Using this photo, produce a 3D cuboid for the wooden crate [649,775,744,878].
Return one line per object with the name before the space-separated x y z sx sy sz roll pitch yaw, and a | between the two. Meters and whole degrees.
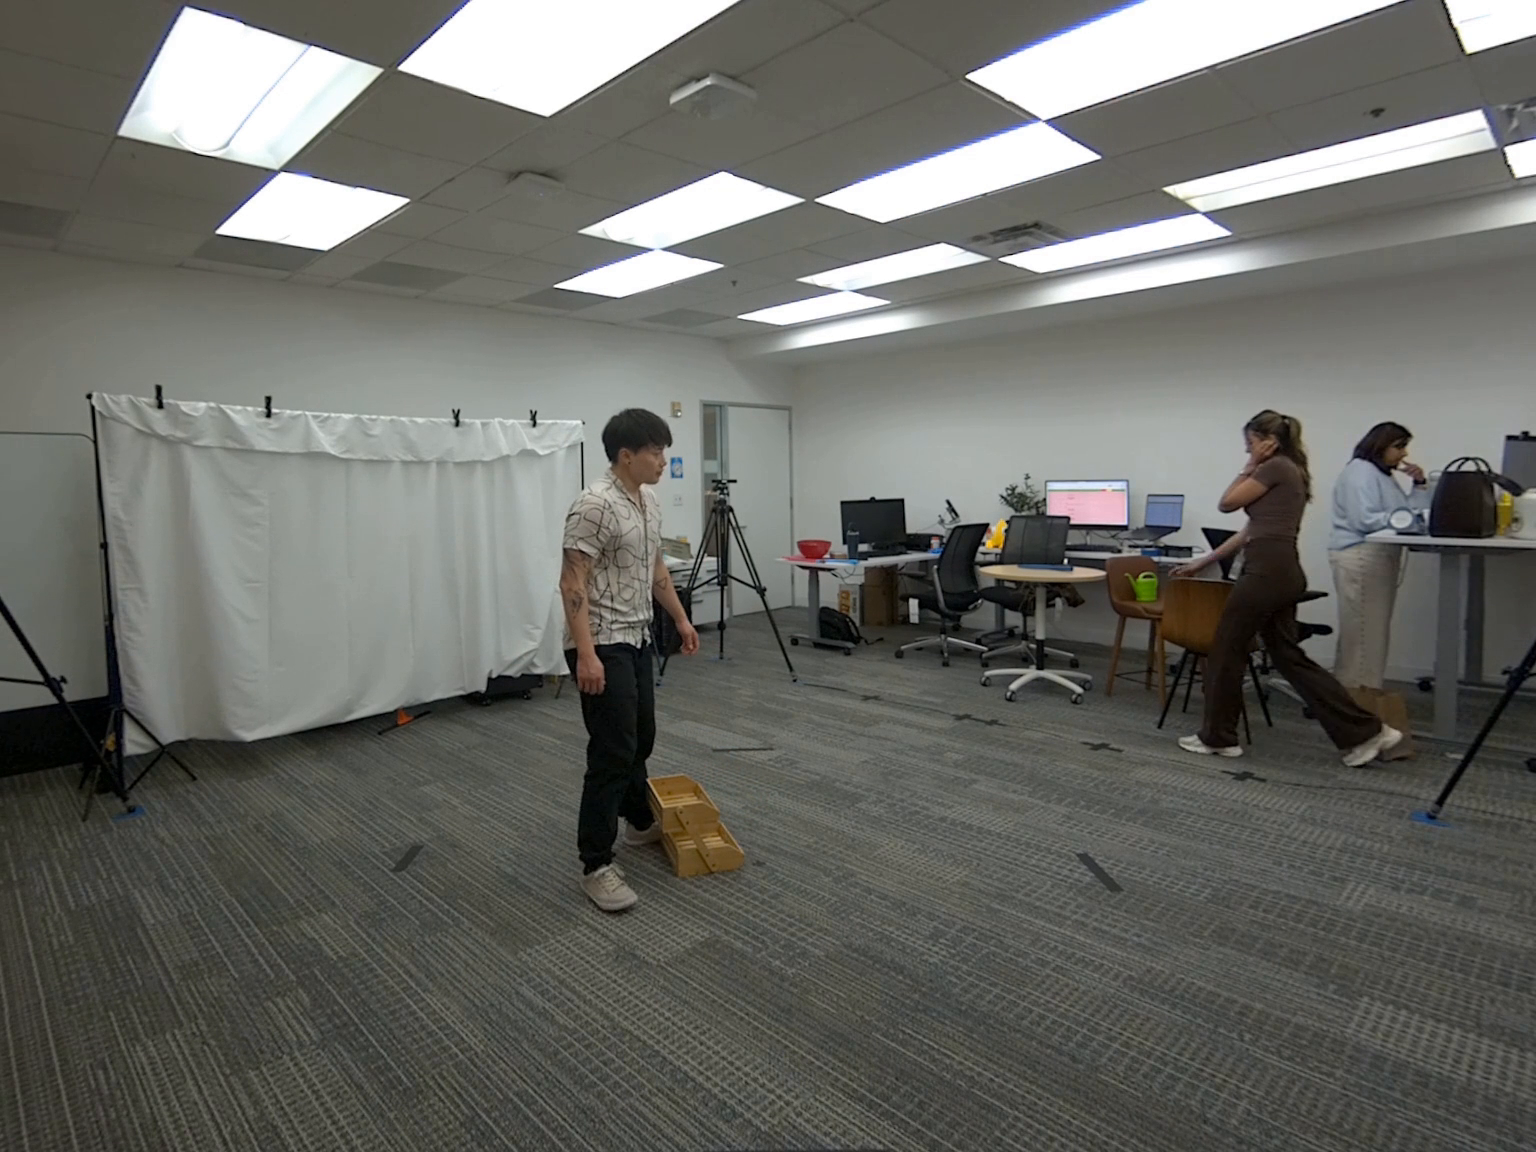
wooden crate | -0.260 0.915 3.171 0.297 0.272 0.331 -3 5 -17
